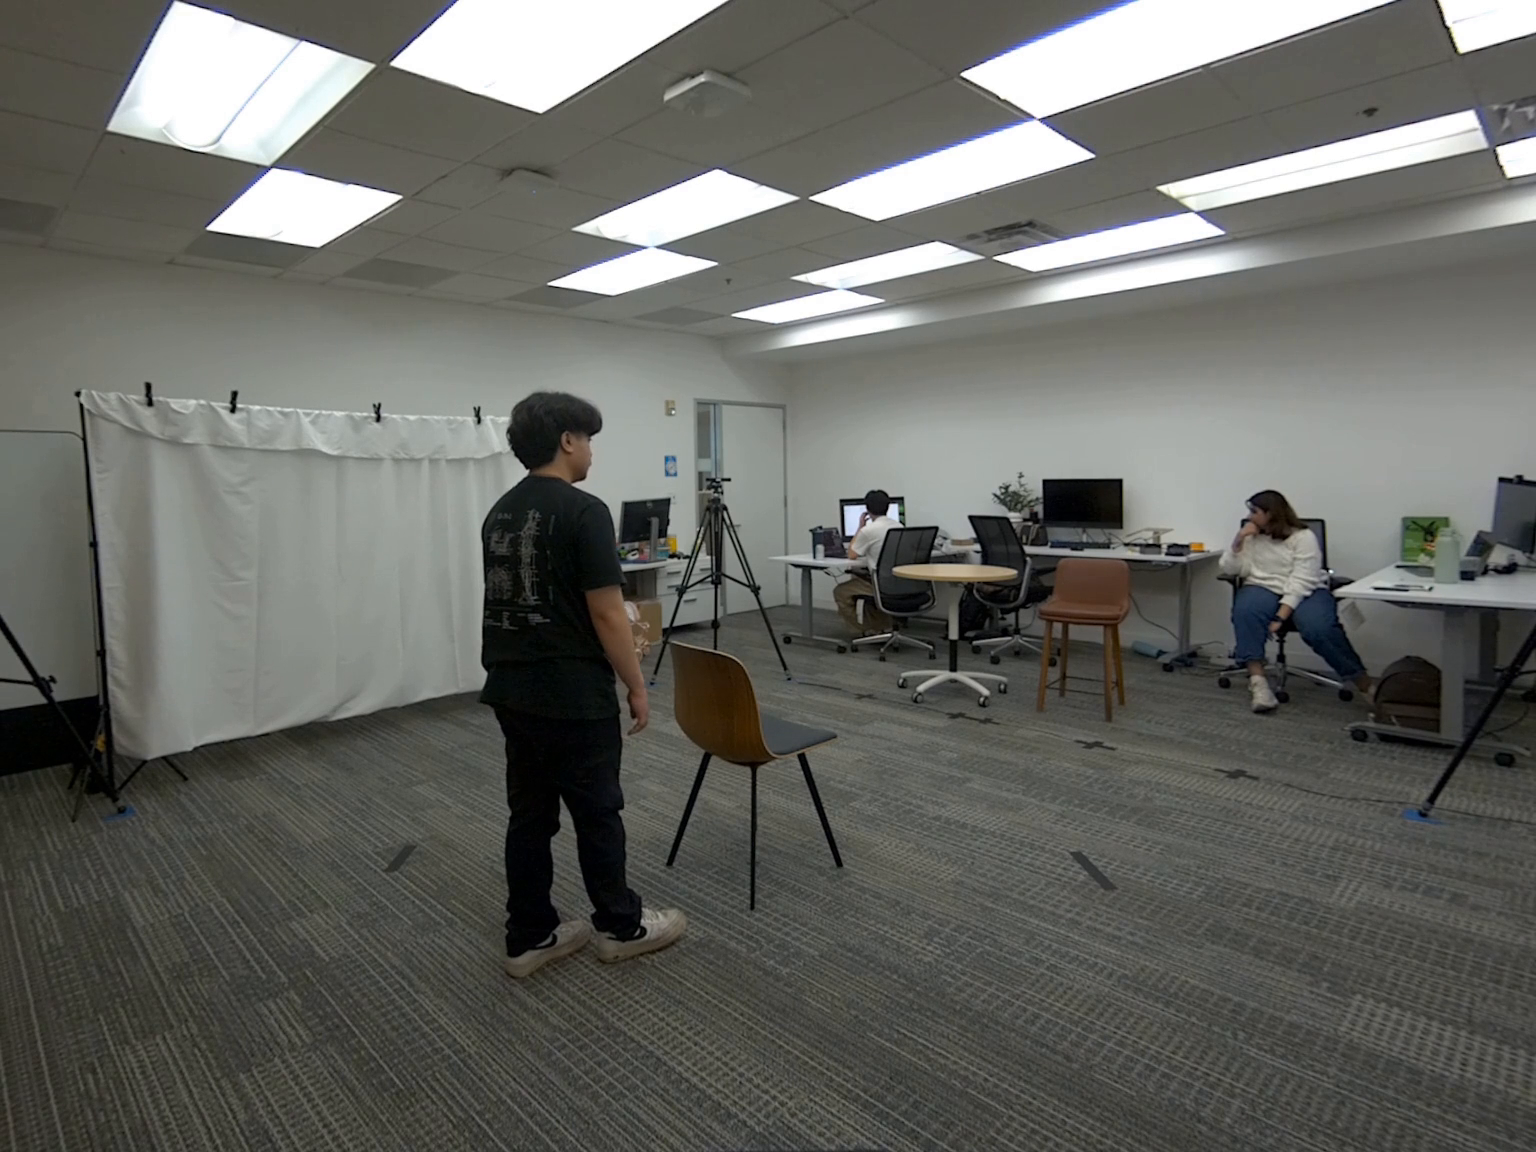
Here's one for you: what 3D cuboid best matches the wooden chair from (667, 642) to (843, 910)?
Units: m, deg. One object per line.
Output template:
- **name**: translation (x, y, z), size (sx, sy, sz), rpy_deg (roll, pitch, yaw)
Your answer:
- **wooden chair**: translation (-0.050, 0.624, 3.050), size (0.511, 0.871, 0.493), rpy_deg (-11, 10, -43)
